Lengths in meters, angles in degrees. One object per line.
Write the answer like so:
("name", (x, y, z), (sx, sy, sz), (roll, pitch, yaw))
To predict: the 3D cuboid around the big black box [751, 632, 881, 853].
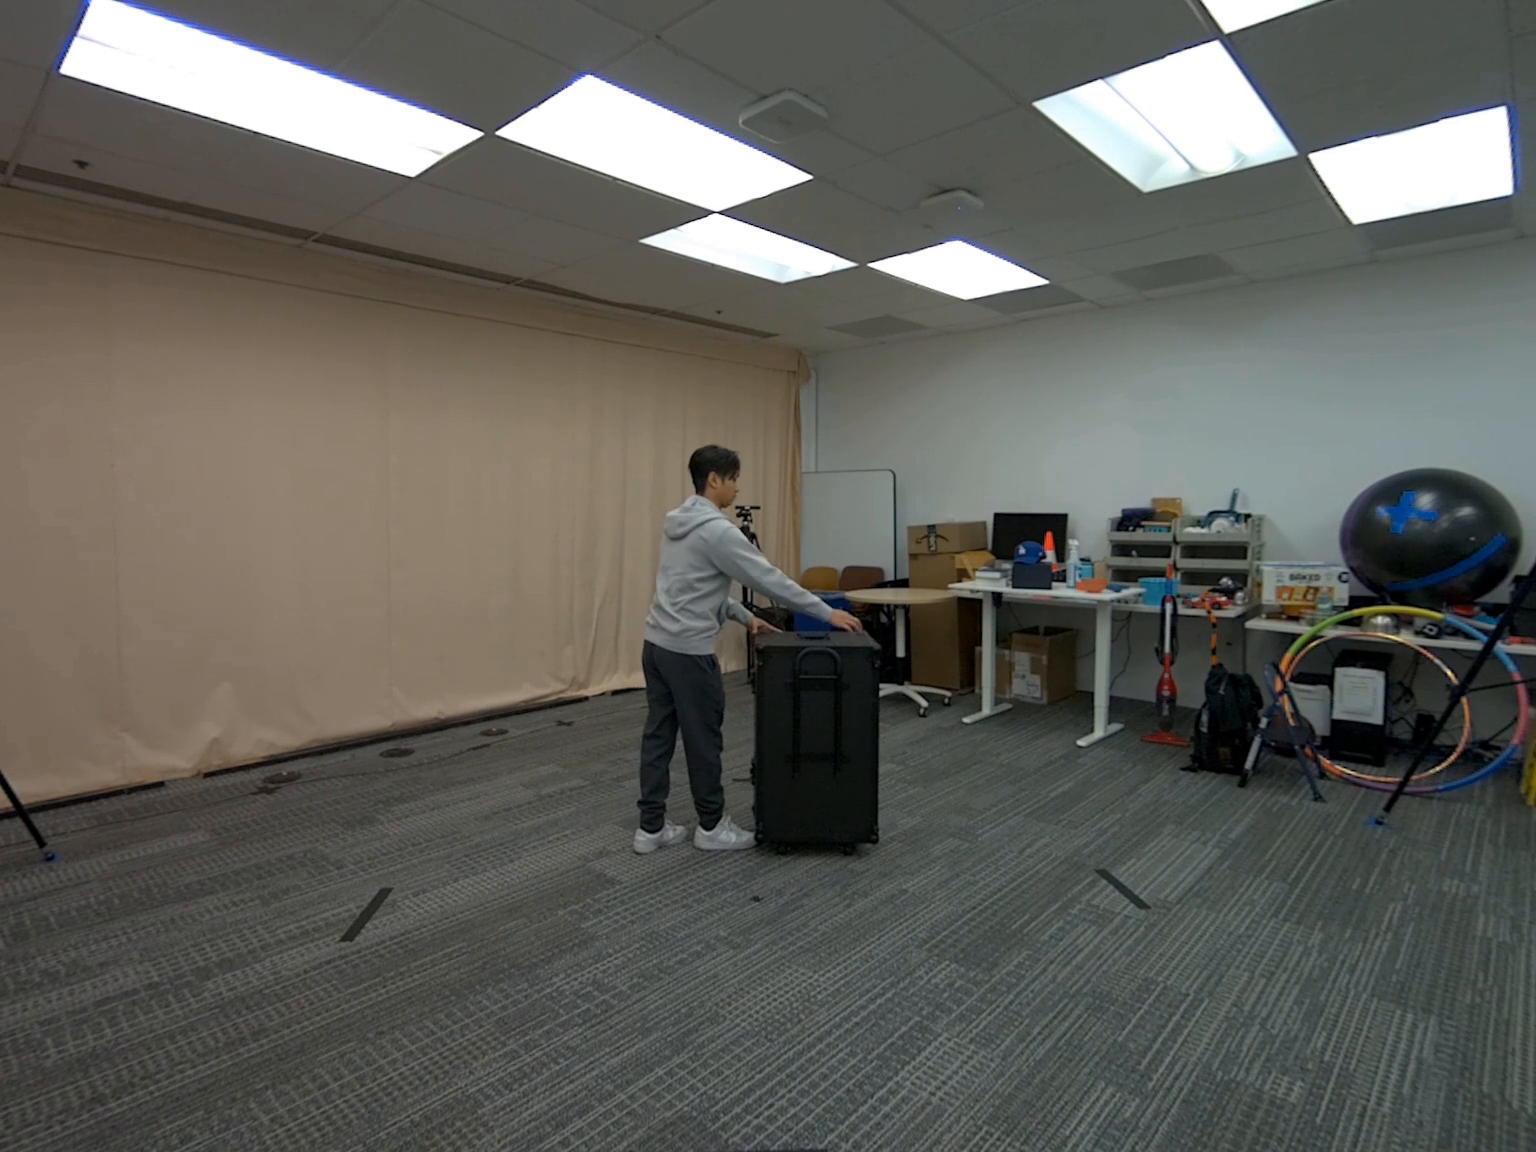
("big black box", (0.197, 0.683, 3.447), (0.522, 0.859, 0.397), (0, 5, 1))
